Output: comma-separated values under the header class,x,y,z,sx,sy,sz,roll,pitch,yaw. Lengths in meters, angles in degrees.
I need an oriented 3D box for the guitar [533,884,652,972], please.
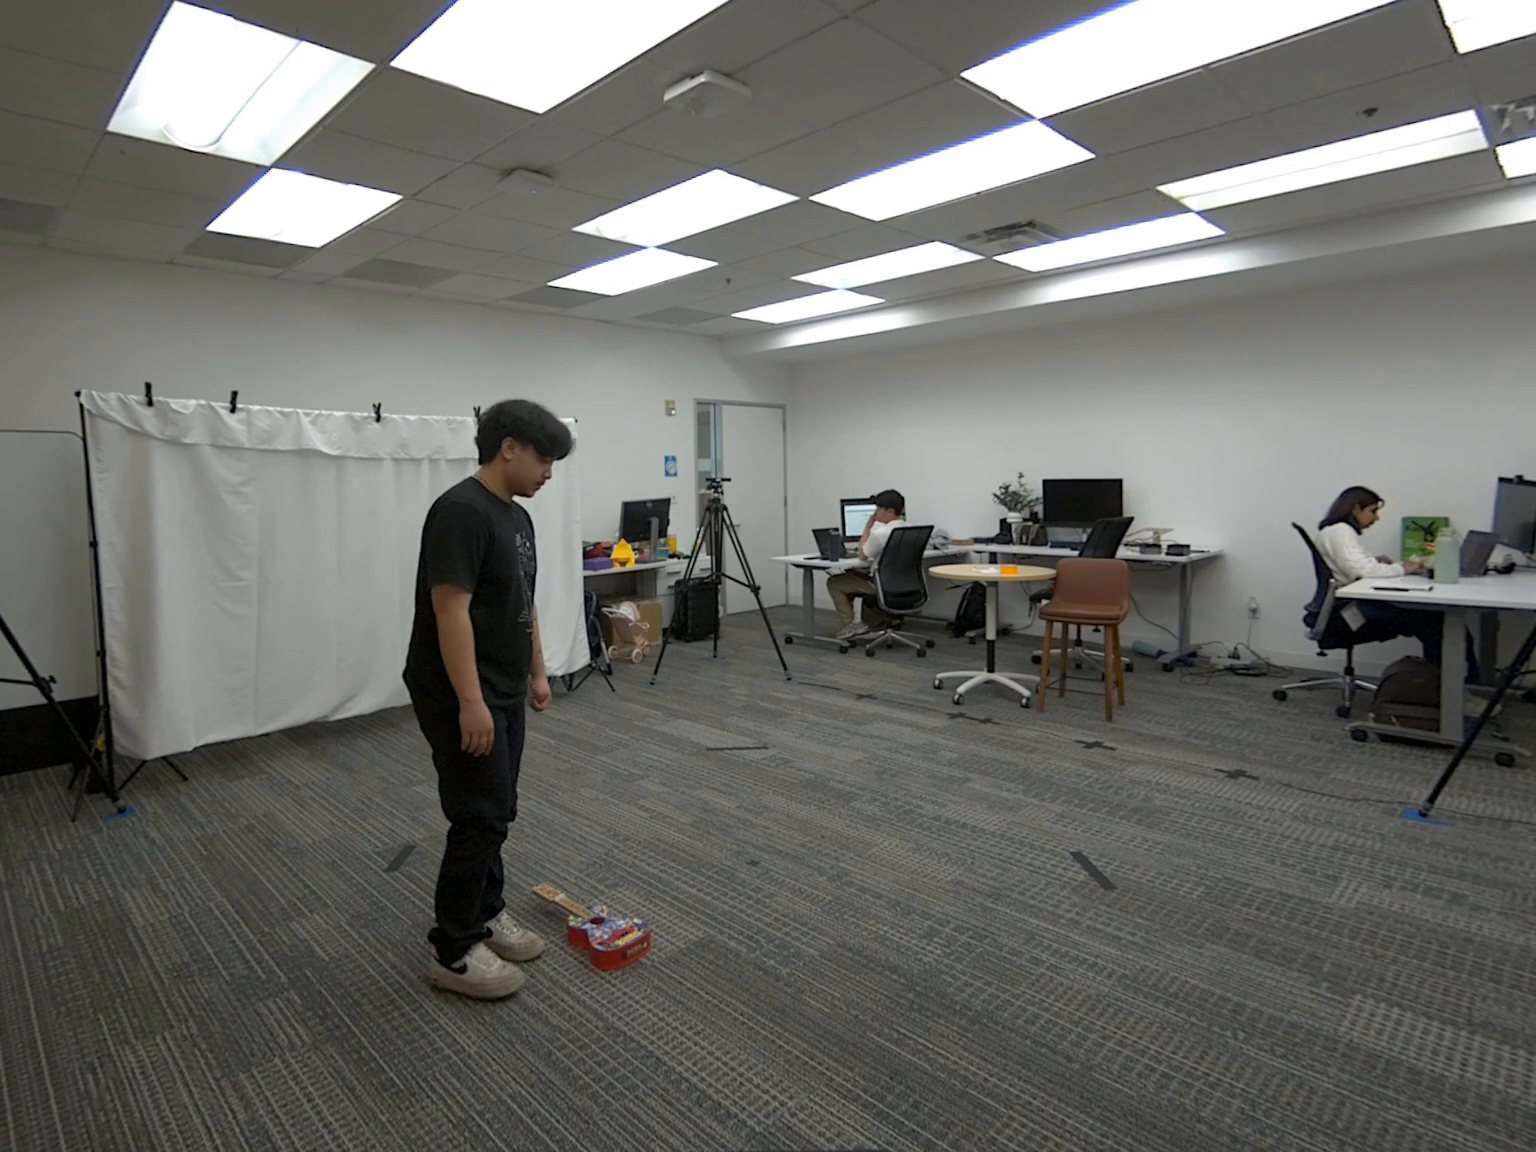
class,x,y,z,sx,sy,sz,roll,pitch,yaw
guitar,-0.552,1.071,2.672,0.188,0.070,0.513,-7,10,-38
